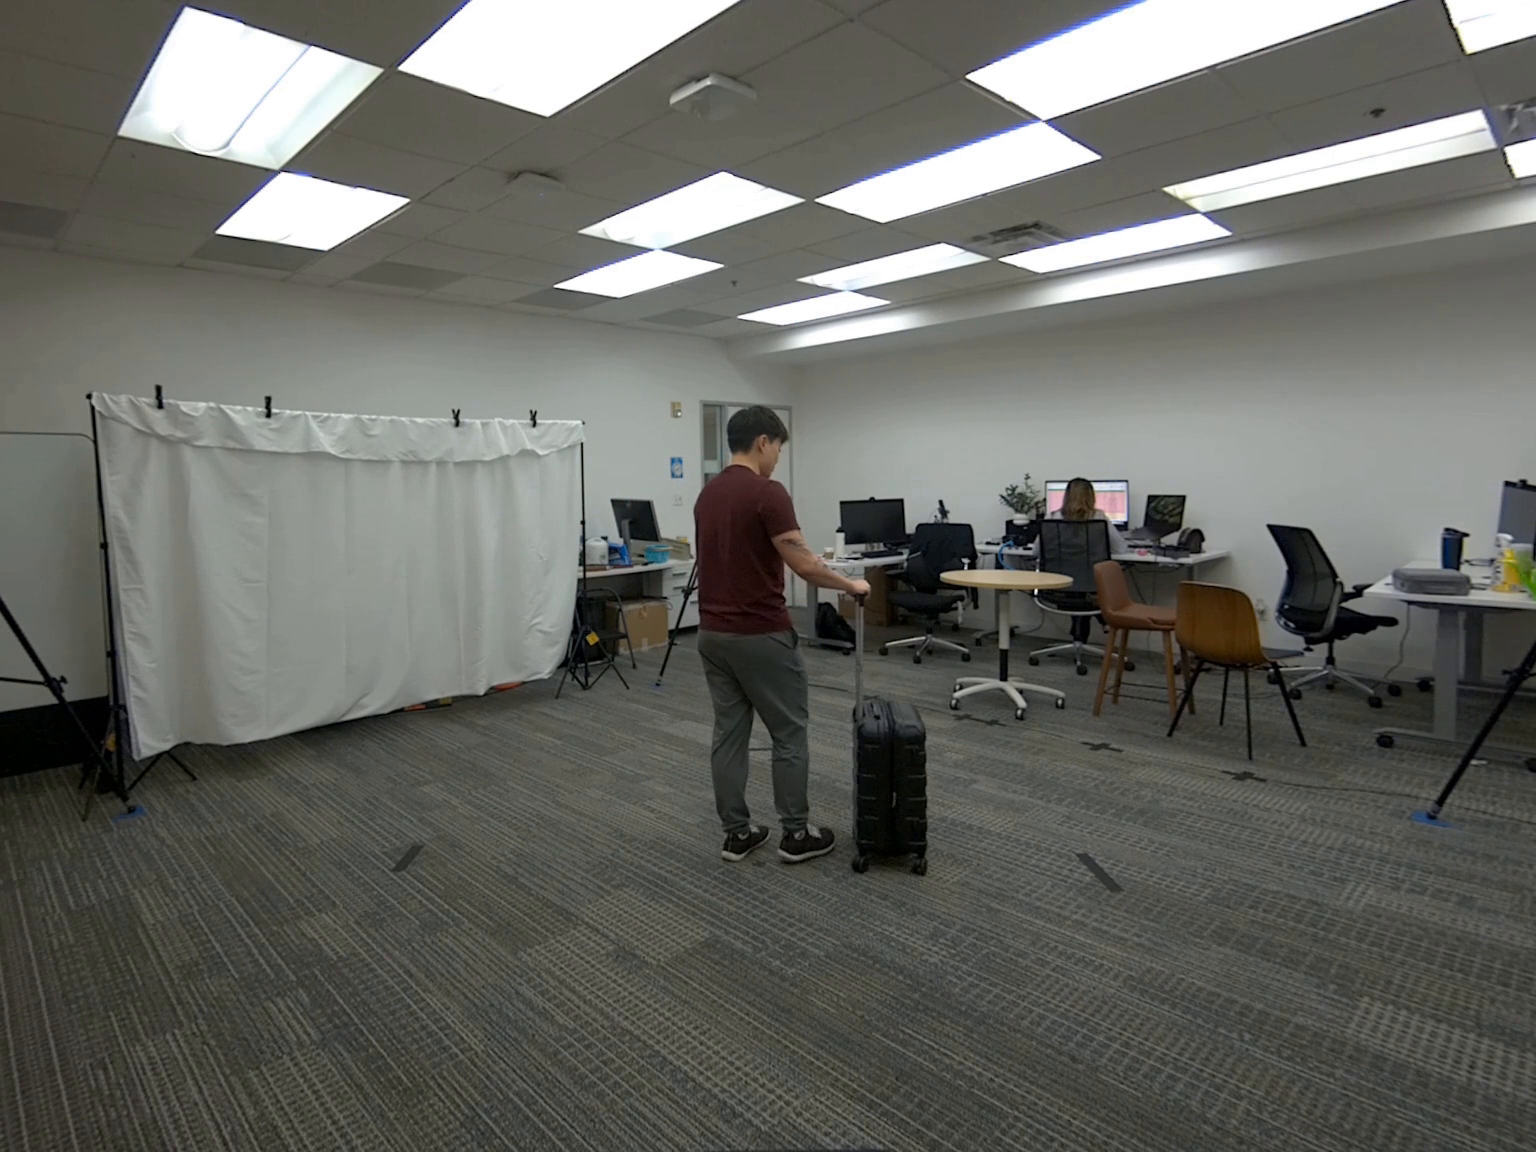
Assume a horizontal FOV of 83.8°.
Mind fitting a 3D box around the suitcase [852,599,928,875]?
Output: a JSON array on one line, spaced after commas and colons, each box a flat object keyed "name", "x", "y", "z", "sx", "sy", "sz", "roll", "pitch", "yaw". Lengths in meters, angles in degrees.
[{"name": "suitcase", "x": 0.452, "y": 0.556, "z": 3.165, "sx": 0.258, "sy": 0.977, "sz": 0.383, "roll": 2, "pitch": 2, "yaw": 4}]
